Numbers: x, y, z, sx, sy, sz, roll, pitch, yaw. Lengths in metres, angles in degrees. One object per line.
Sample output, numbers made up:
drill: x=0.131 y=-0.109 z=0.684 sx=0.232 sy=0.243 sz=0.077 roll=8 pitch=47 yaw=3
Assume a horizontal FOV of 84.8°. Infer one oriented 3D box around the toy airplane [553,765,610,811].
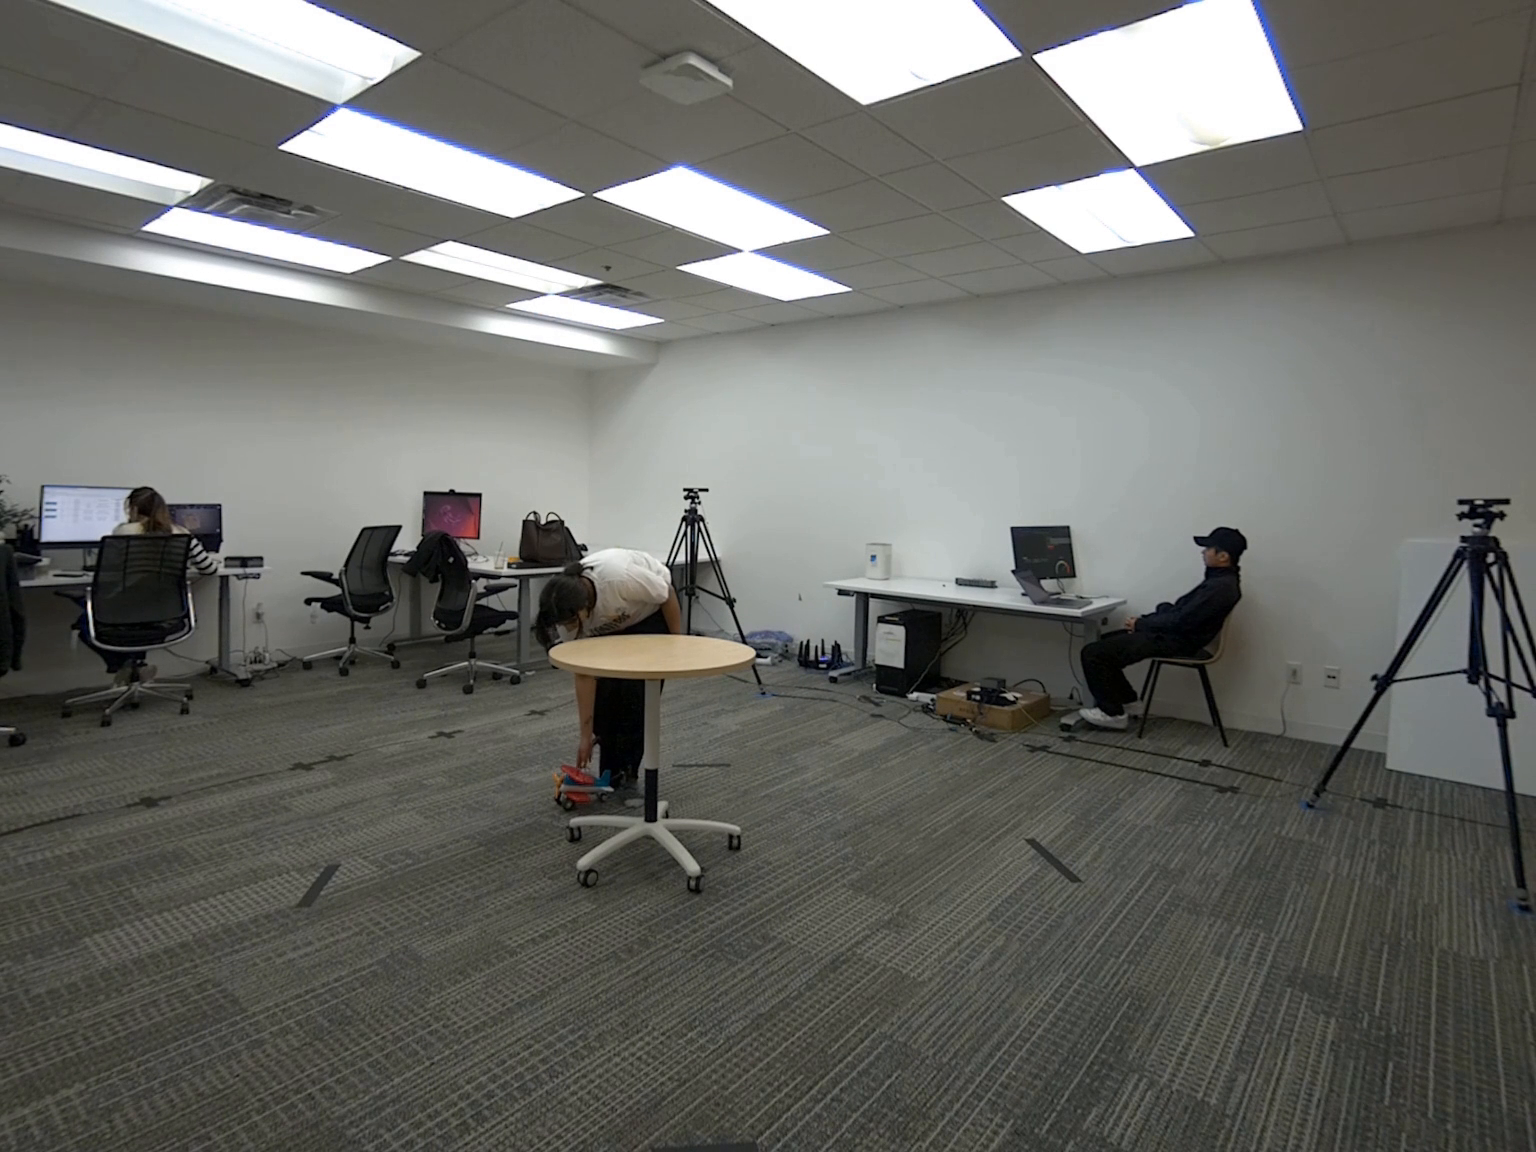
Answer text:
toy airplane: x=-0.841 y=0.924 z=3.754 sx=0.258 sy=0.156 sz=0.253 roll=1 pitch=6 yaw=30
